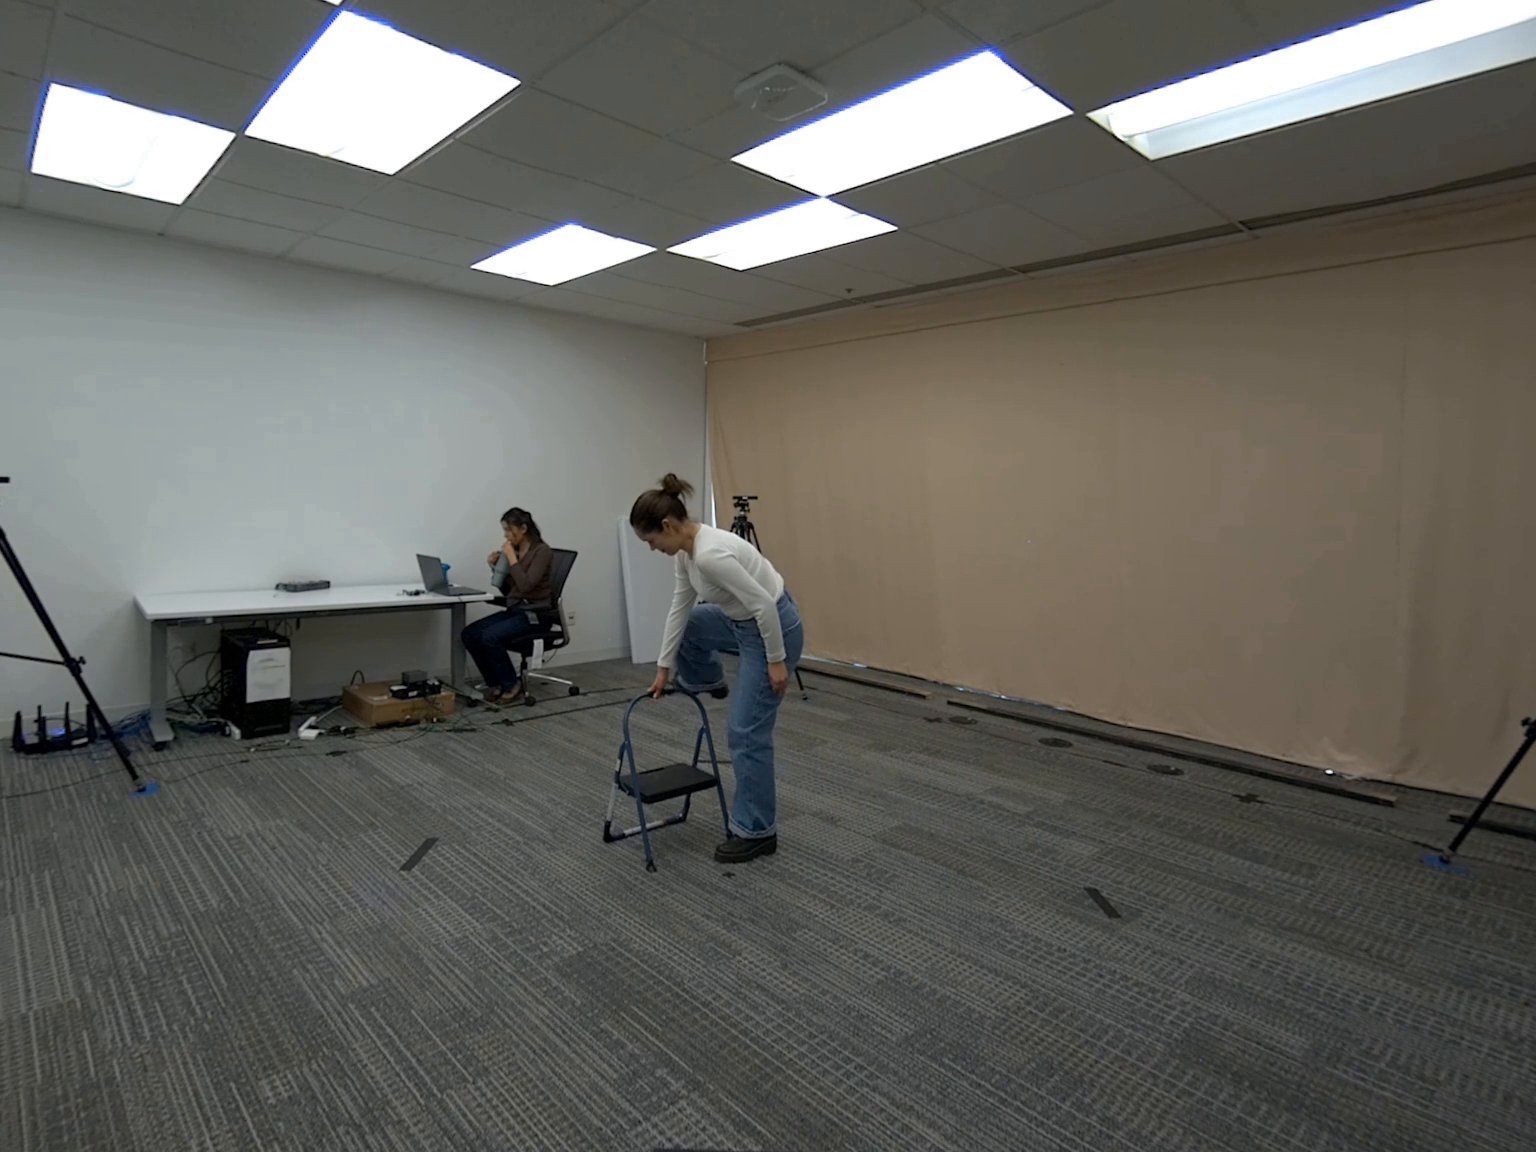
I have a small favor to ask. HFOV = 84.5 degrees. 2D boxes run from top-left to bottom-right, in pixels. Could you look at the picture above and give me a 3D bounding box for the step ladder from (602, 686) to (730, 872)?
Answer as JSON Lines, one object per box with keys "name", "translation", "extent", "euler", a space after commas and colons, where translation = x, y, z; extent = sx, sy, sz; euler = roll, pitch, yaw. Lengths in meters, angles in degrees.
{"name": "step ladder", "translation": [-0.395, 0.771, 3.365], "extent": [0.421, 0.604, 0.358], "euler": [-2, 5, -43]}
